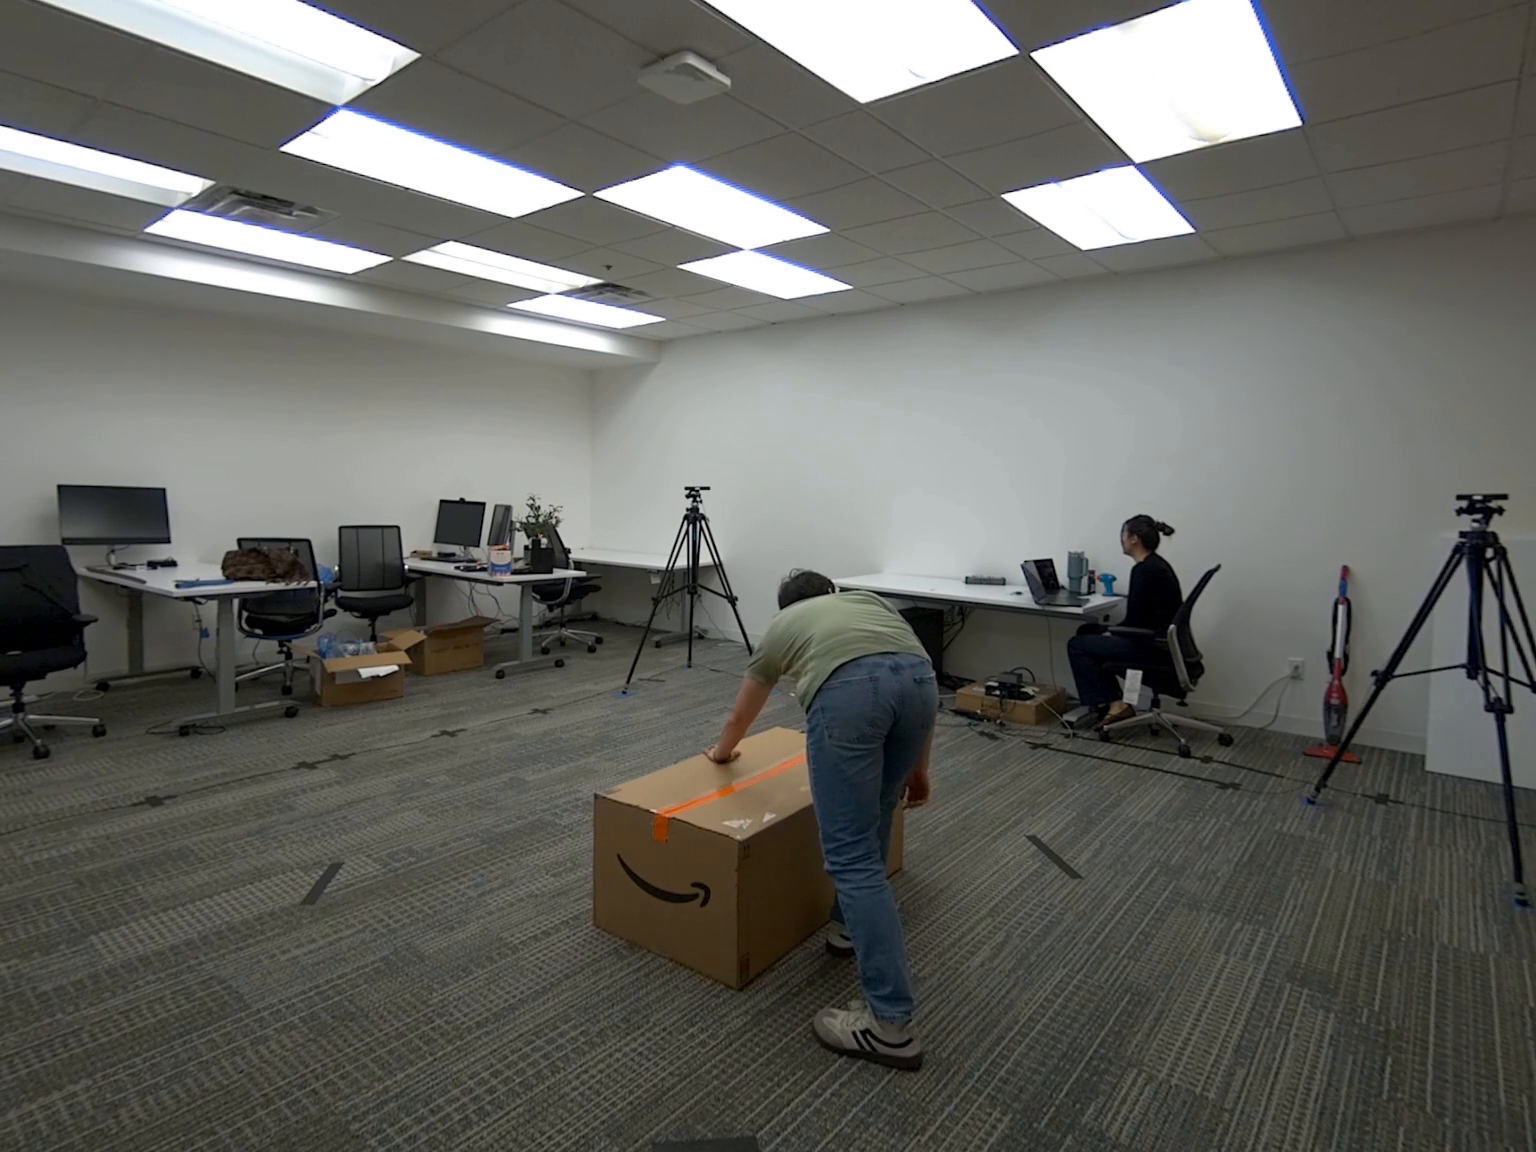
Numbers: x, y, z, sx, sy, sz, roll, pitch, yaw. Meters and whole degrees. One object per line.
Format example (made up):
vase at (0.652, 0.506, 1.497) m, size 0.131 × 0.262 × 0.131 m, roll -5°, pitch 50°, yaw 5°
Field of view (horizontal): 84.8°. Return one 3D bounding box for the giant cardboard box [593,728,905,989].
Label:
giant cardboard box at (-0.036, 0.876, 2.906) m, size 0.596 × 0.425 × 0.996 m, roll 4°, pitch 6°, yaw 36°
